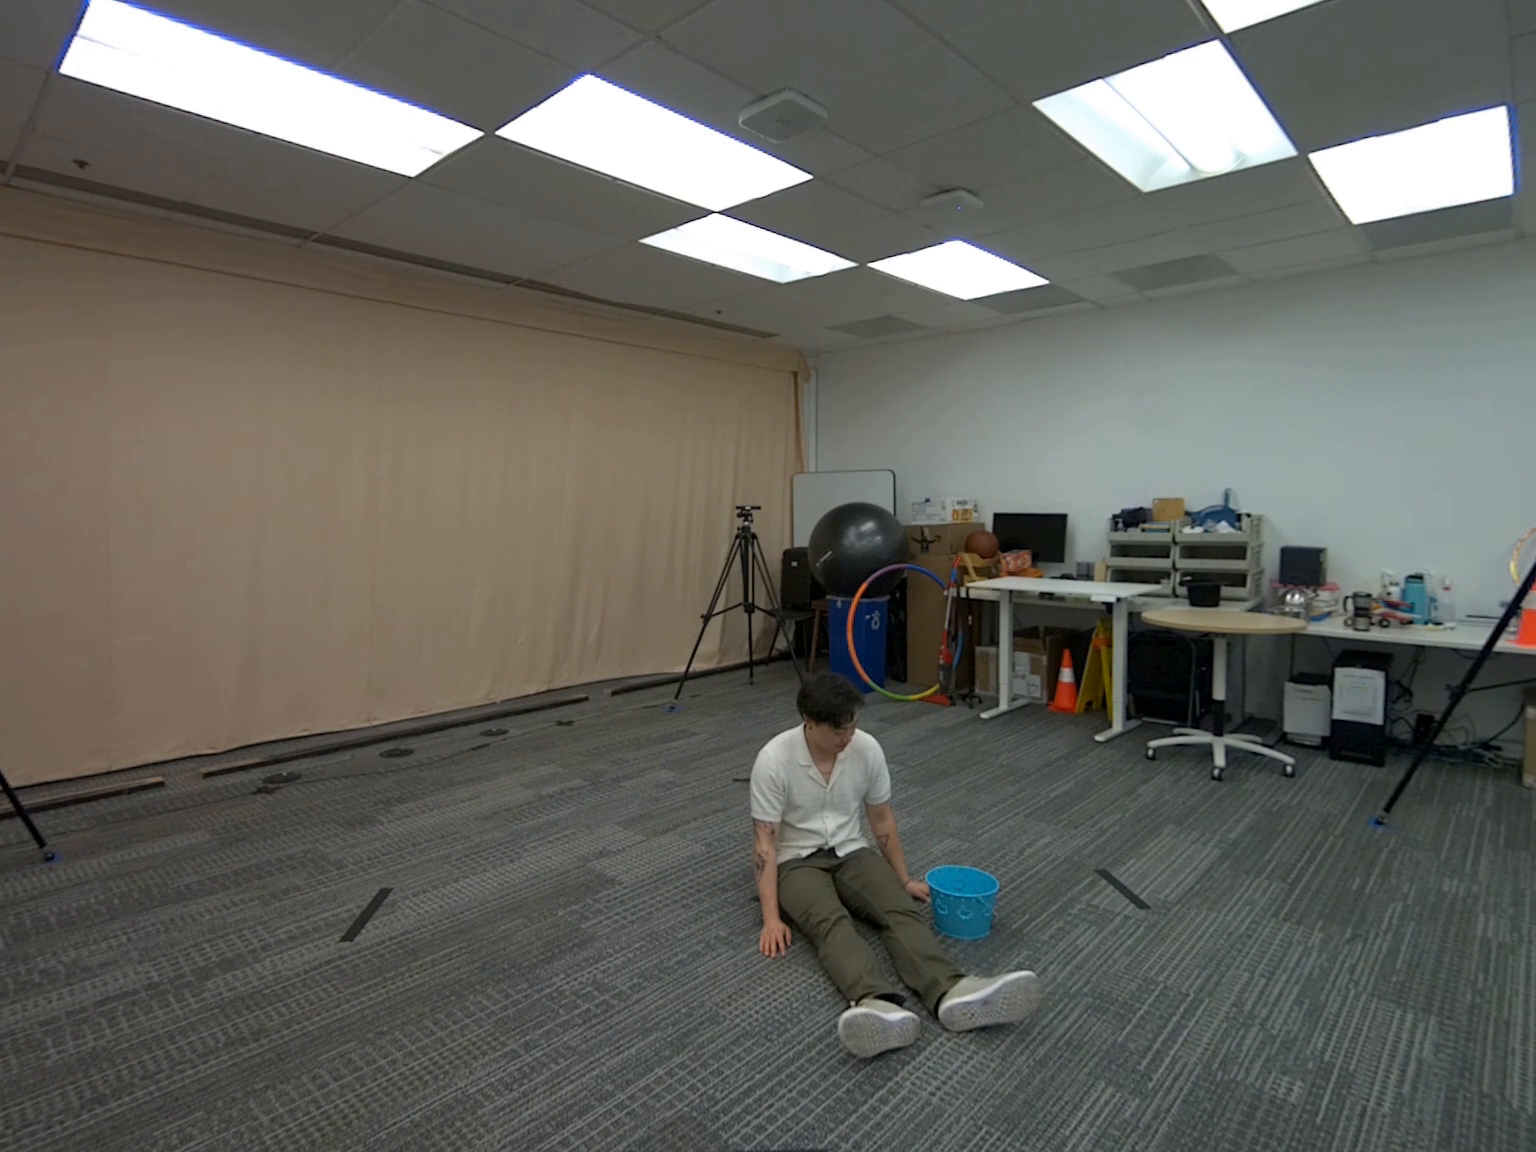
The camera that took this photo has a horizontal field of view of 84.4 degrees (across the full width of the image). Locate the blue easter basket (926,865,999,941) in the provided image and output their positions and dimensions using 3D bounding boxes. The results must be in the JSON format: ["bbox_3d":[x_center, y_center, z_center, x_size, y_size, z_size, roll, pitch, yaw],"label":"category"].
[{"bbox_3d":[0.654,1.084,2.778,0.243,0.155,0.244,0,4,-2],"label":"blue easter basket"}]
